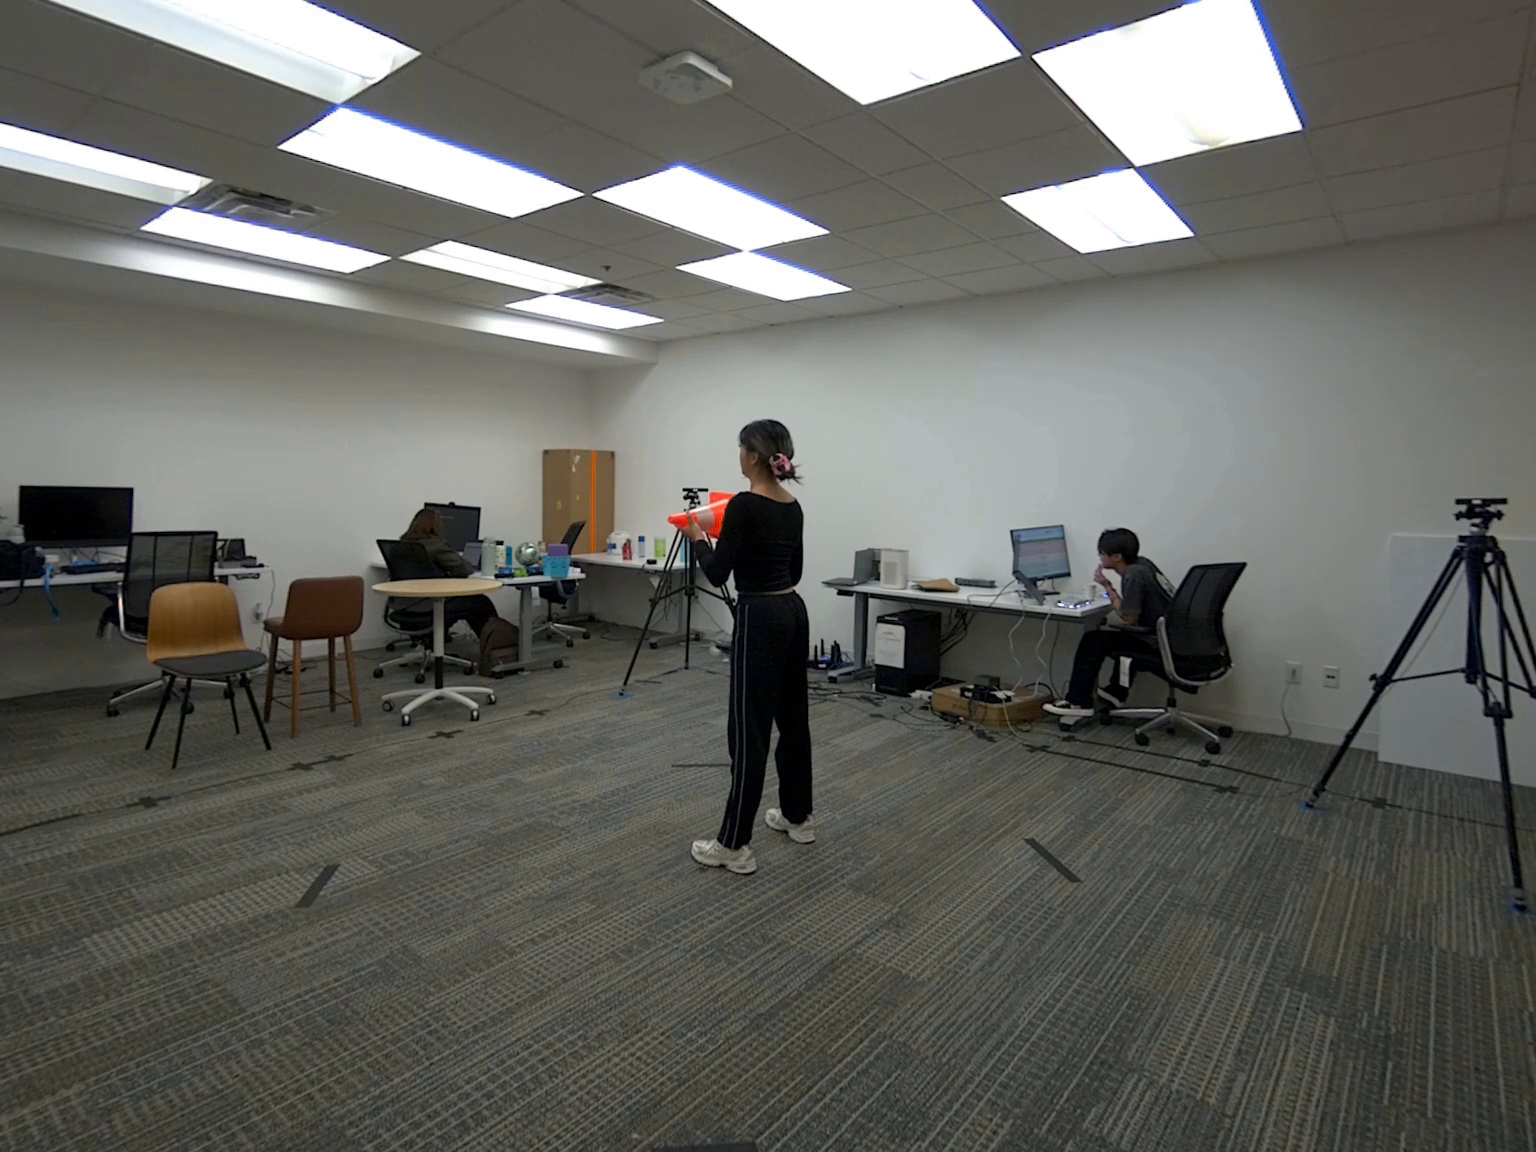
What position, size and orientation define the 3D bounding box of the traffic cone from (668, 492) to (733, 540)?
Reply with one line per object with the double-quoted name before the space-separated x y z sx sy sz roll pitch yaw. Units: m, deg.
"traffic cone" -0.275 -0.235 3.416 0.210 0.204 0.373 10 10 34
